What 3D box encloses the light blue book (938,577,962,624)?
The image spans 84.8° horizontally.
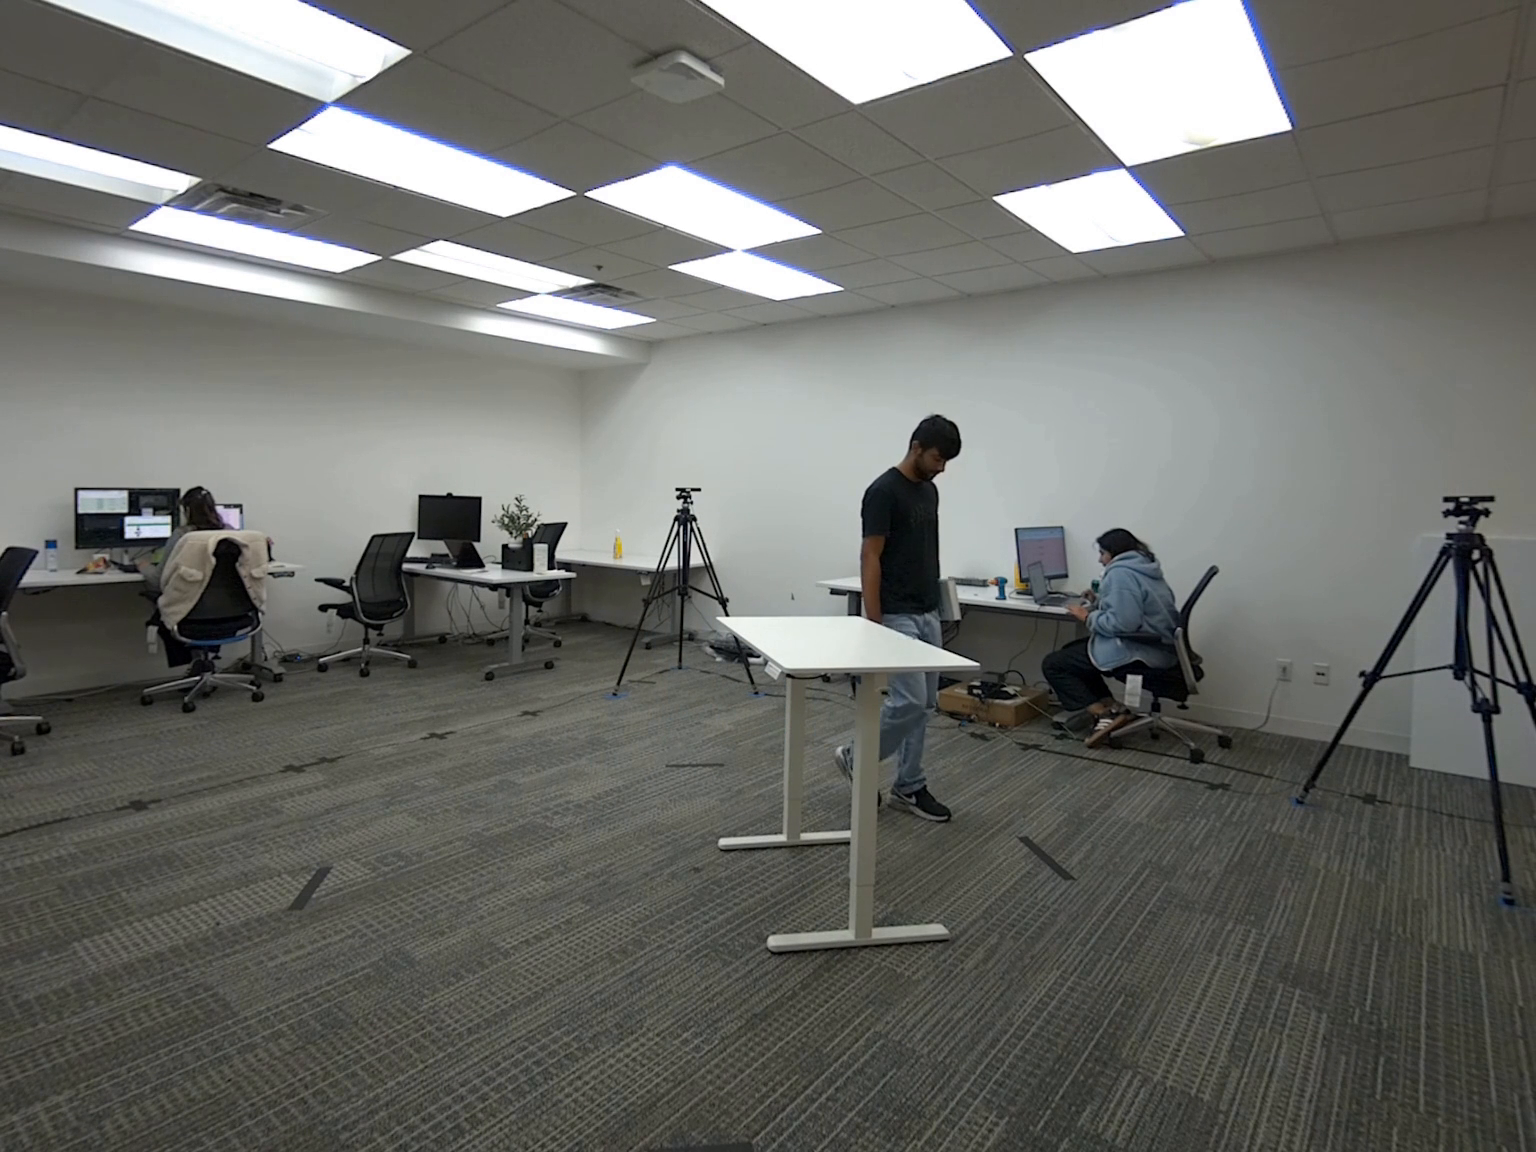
[{"bbox_3d":[0.709,0.102,3.791,0.268,0.191,0.057,-5,4,45],"label":"light blue book"}]
